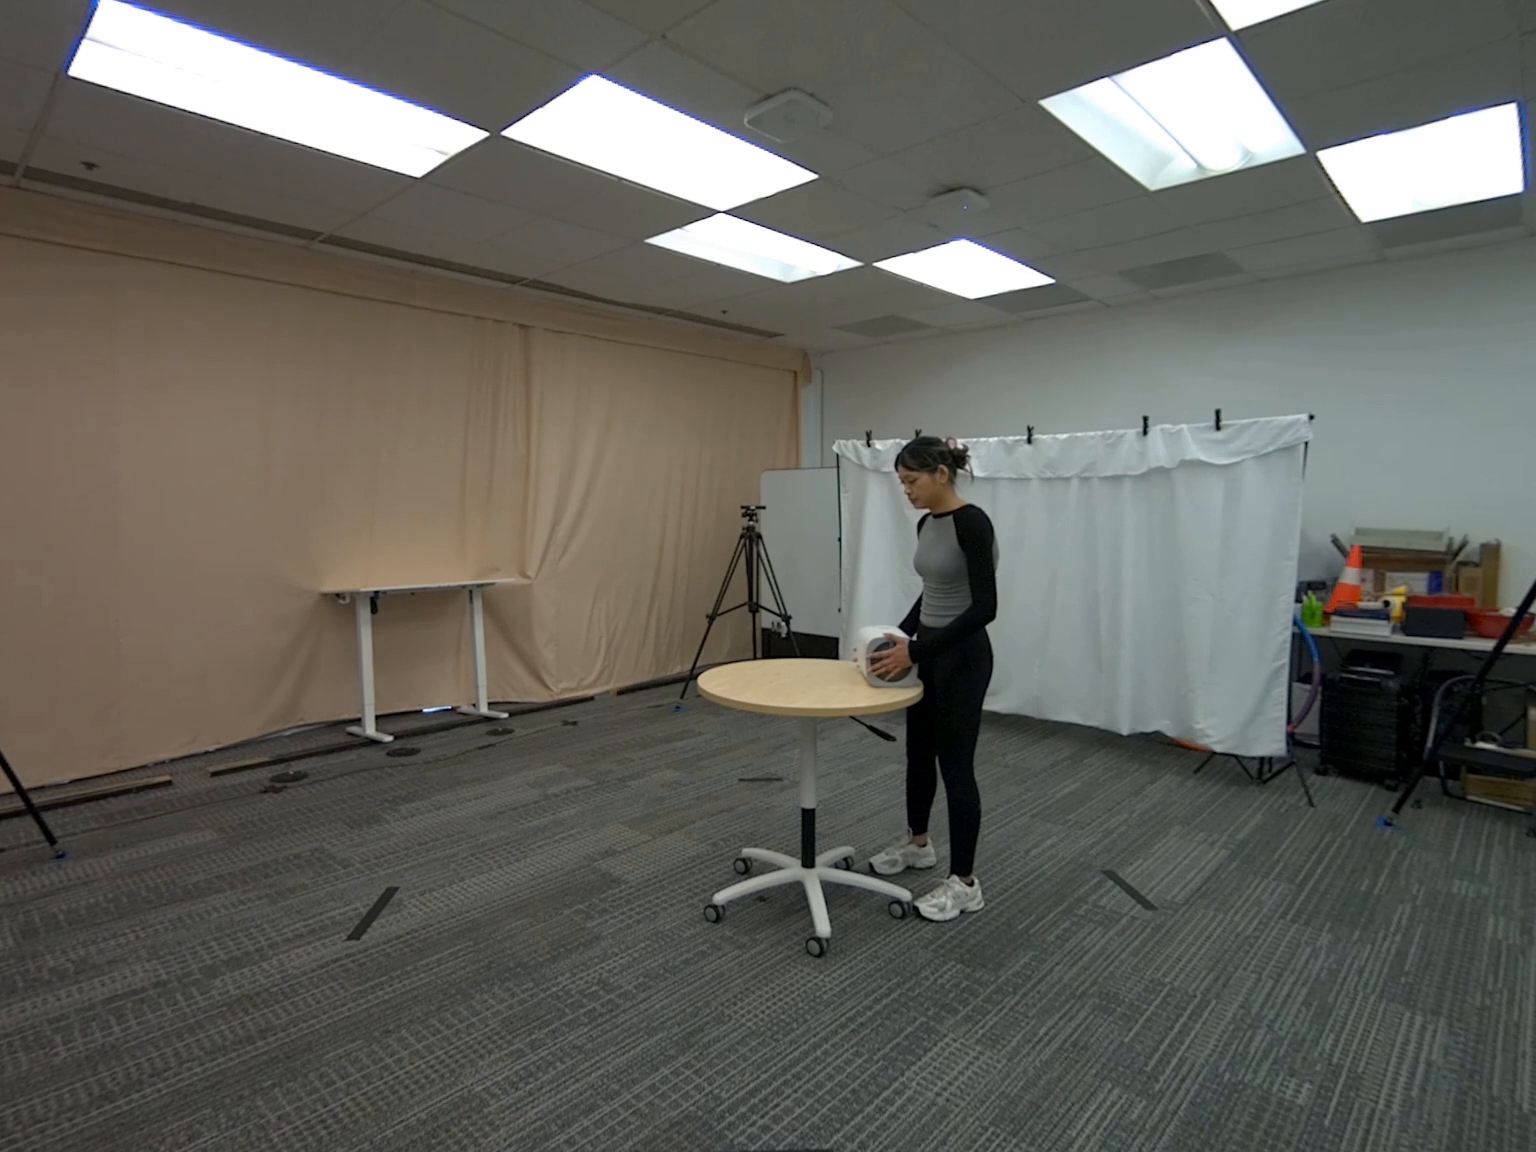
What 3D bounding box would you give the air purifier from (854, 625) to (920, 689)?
[{"bbox_3d":[0.413,0.273,2.884,0.171,0.171,0.265,-1,4,1],"label":"air purifier"}]
